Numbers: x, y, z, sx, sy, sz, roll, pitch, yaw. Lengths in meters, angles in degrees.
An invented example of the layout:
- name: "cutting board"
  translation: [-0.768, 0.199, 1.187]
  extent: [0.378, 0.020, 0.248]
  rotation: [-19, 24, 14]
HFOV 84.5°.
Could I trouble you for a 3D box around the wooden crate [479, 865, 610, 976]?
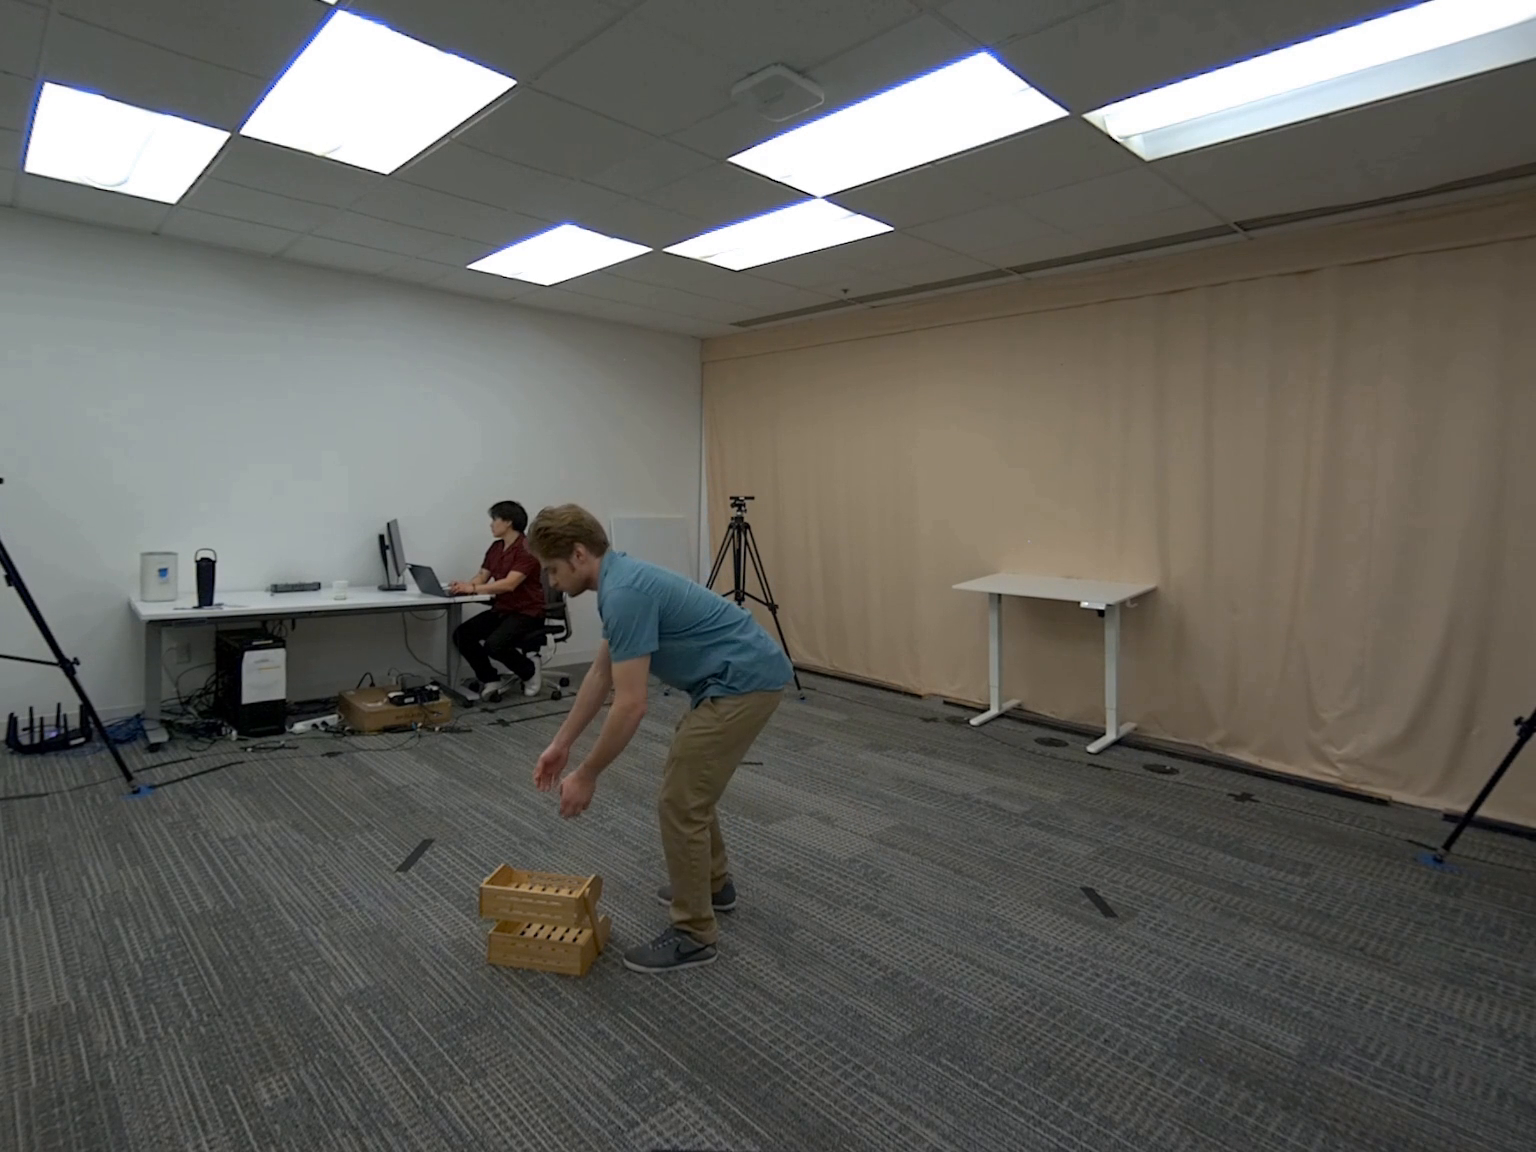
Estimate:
- name: "wooden crate"
  translation: [-0.670, 1.009, 2.550]
  extent: [0.327, 0.272, 0.300]
  rotation: [2, 5, 9]
